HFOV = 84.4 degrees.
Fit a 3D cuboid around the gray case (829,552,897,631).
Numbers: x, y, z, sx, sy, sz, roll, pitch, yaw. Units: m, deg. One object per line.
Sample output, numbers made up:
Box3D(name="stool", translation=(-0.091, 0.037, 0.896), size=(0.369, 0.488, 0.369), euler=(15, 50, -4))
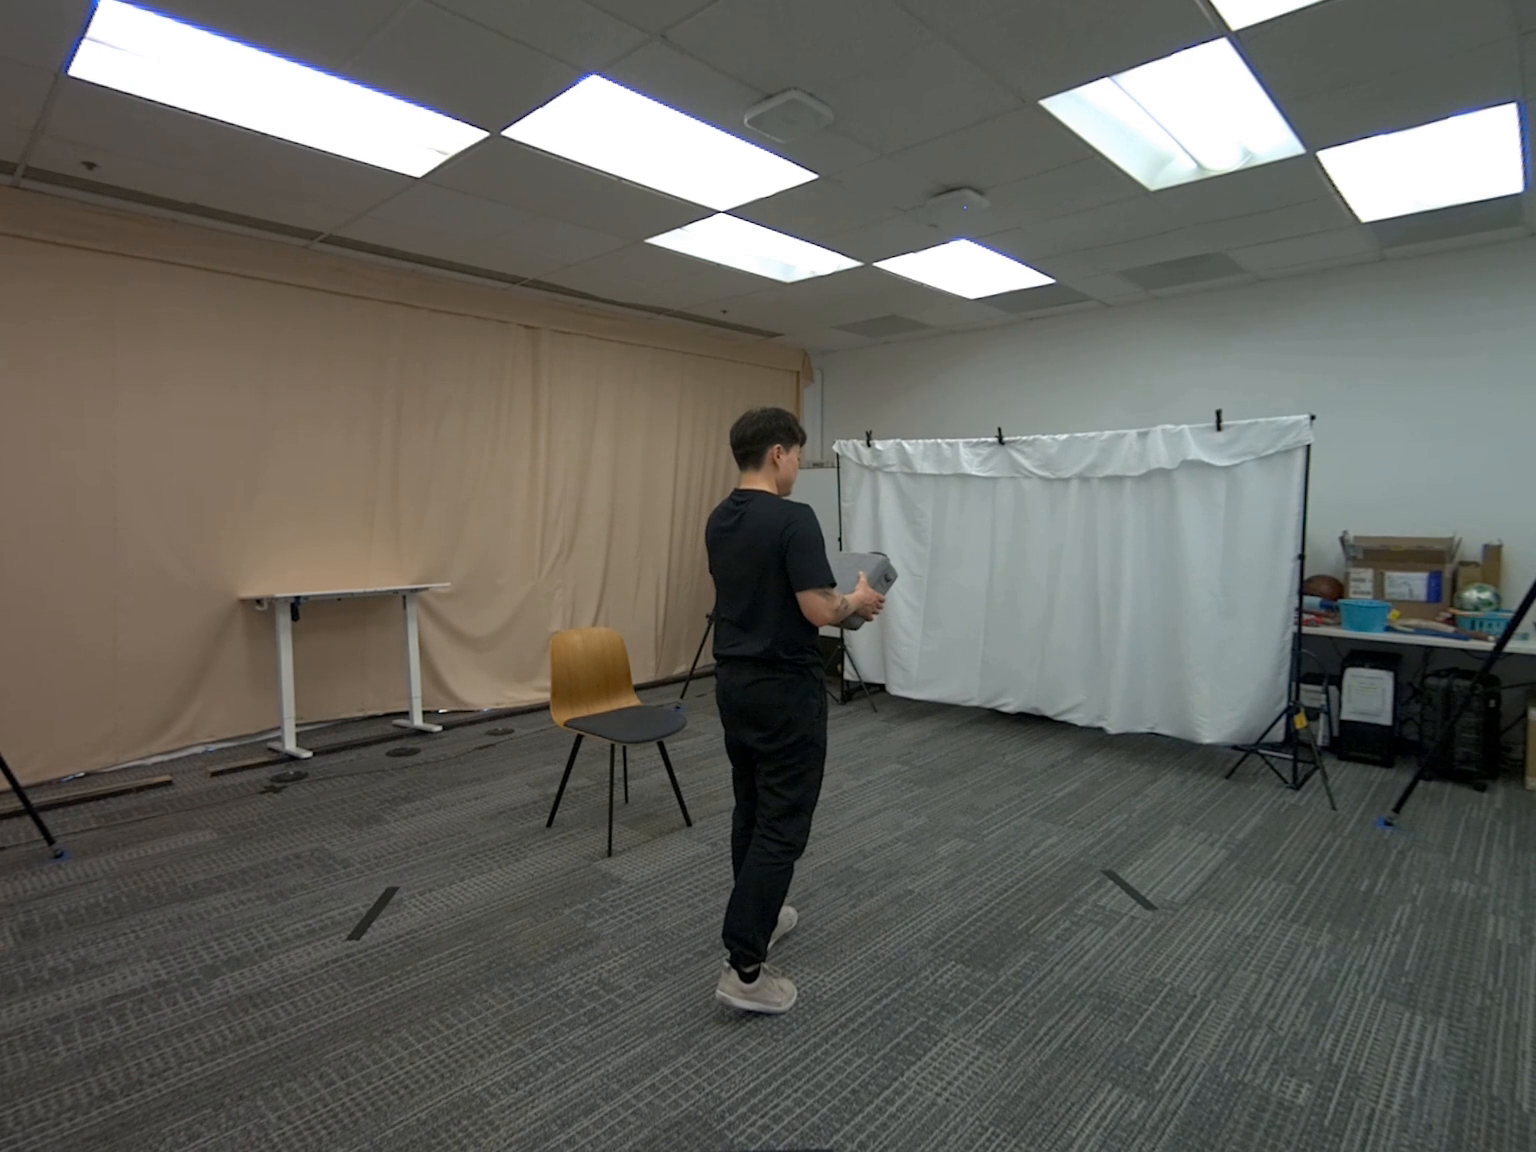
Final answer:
Box3D(name="gray case", translation=(0.266, 0.040, 2.678), size=(0.259, 0.102, 0.265), euler=(-48, 27, -22))
